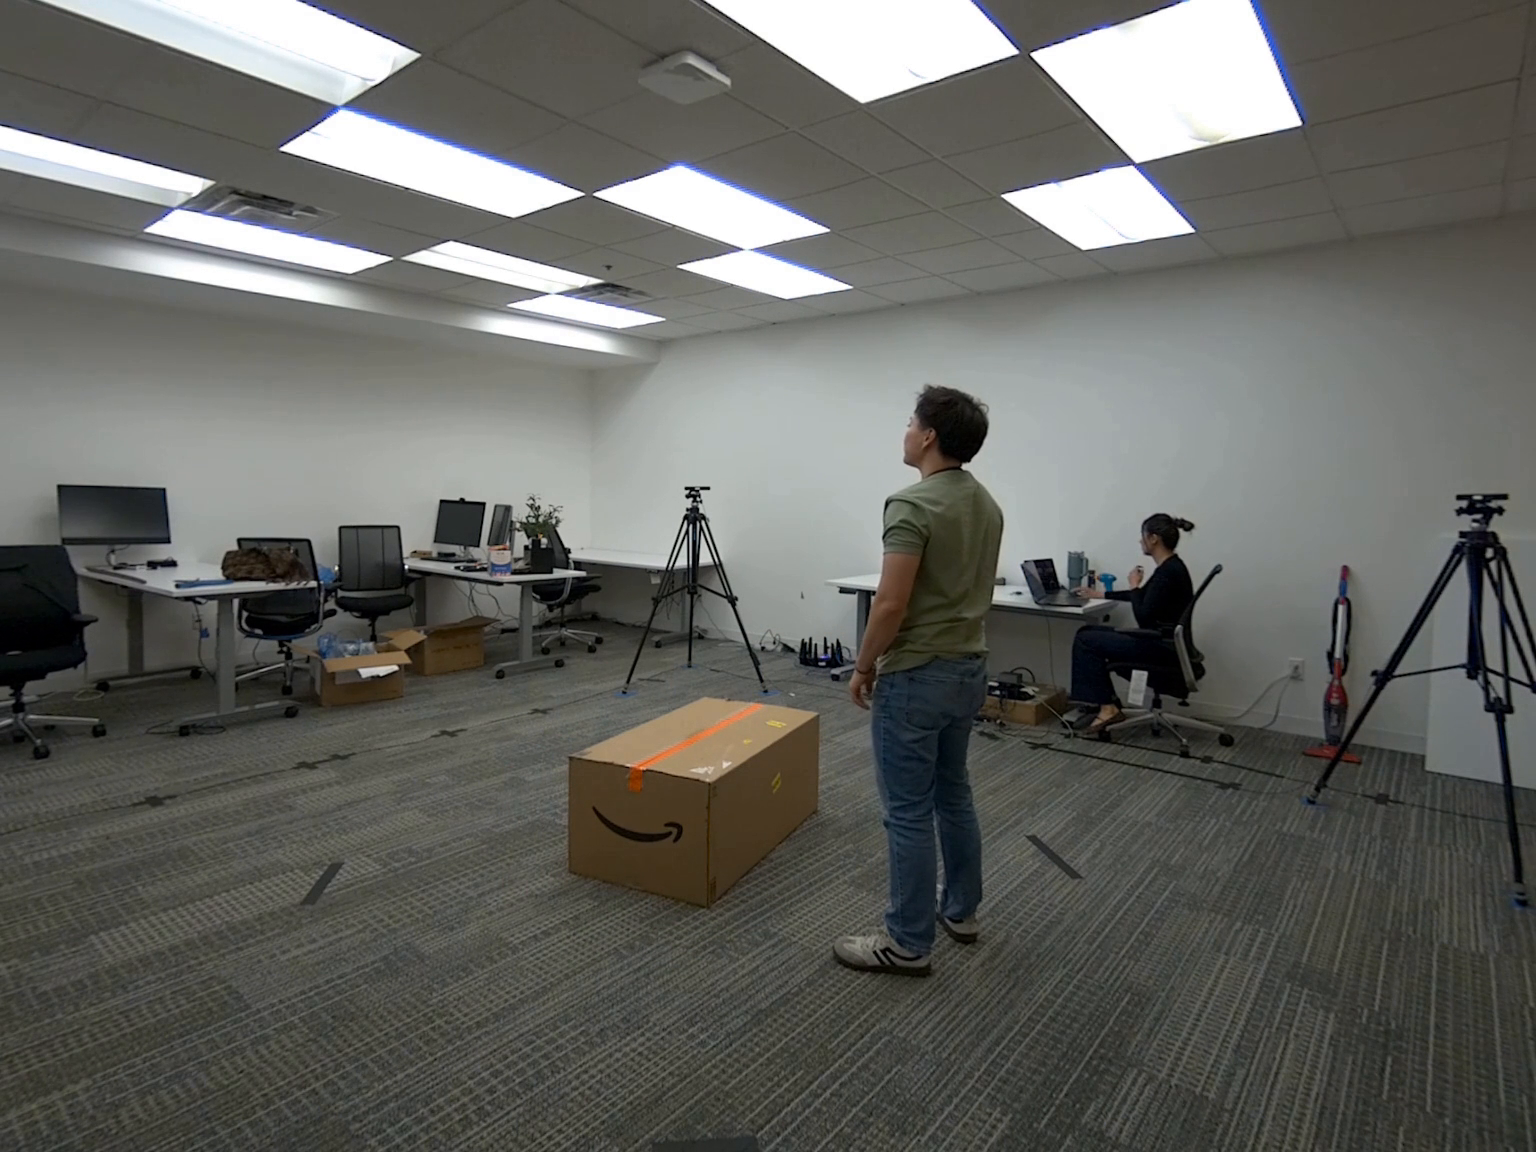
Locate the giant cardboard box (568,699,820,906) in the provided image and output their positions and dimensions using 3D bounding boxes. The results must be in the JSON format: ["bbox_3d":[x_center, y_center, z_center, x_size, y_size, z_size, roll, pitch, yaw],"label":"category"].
[{"bbox_3d":[-0.258,0.823,3.370,0.593,0.424,1.003,4,6,25],"label":"giant cardboard box"}]
